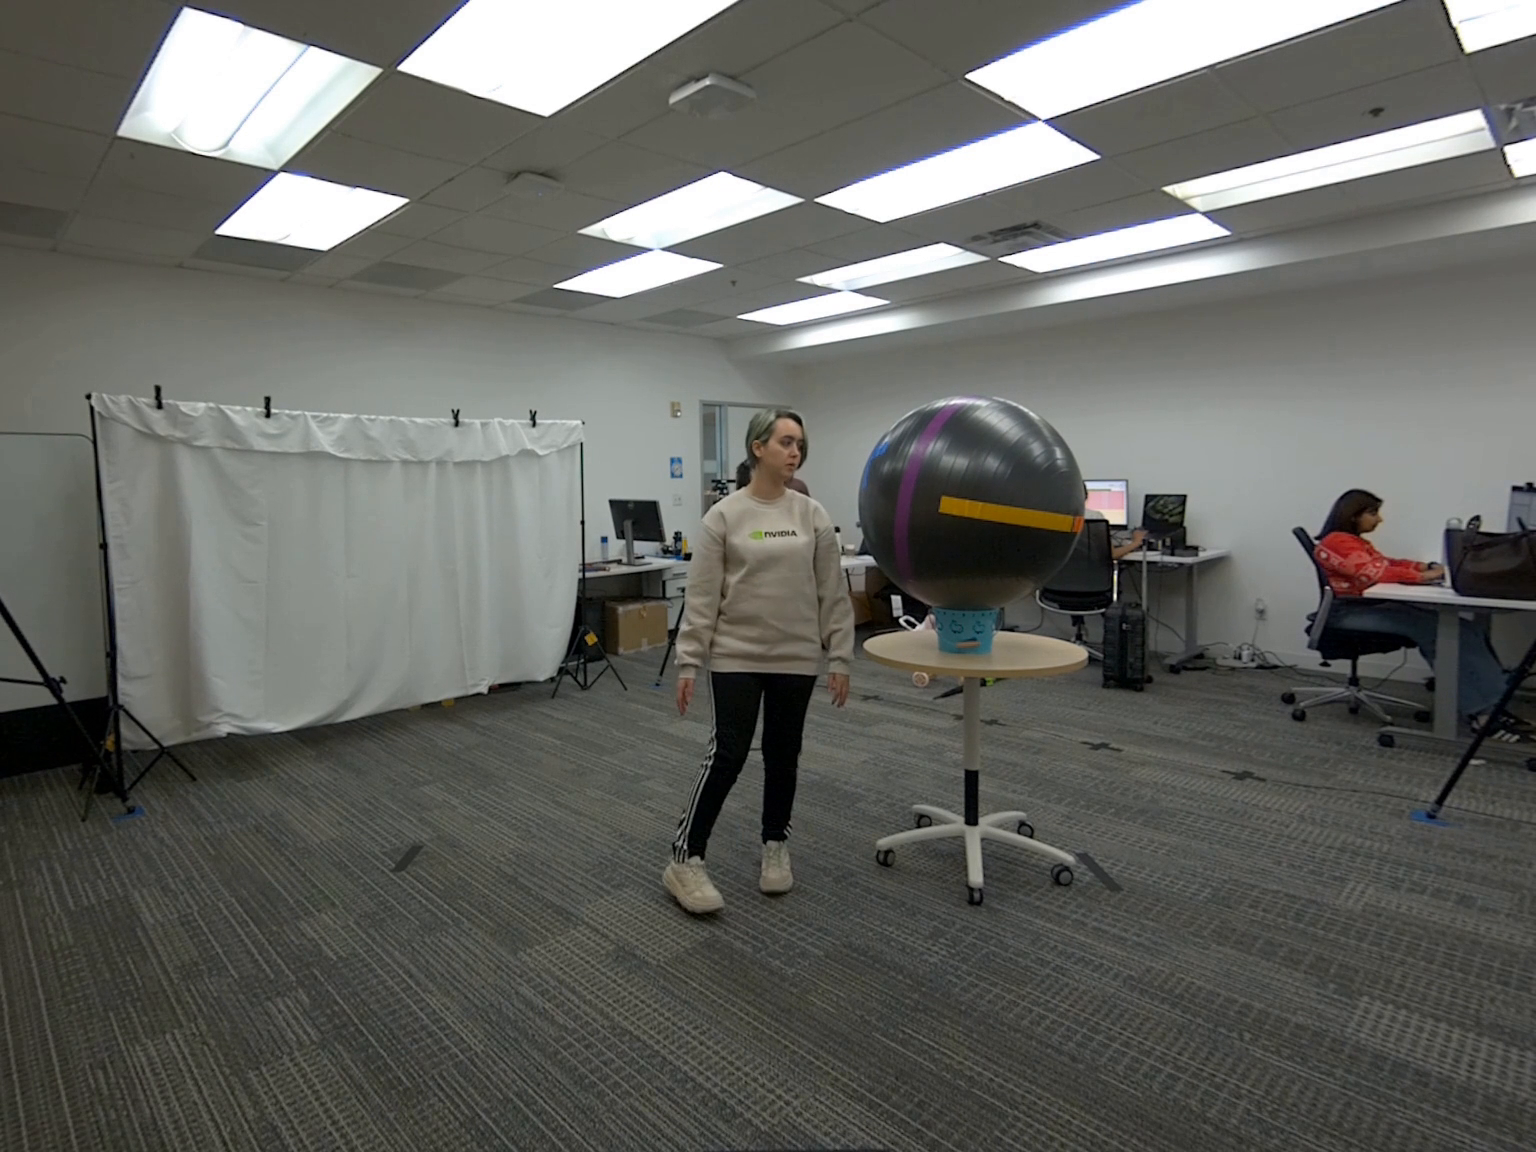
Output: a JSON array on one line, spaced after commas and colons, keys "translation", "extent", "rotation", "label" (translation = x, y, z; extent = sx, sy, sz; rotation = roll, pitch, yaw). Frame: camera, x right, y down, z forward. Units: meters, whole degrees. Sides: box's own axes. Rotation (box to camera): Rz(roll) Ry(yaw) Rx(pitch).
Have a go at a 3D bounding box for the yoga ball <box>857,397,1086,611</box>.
[{"translation": [0.709, -0.249, 2.993], "extent": [0.757, 0.755, 0.762], "rotation": [-1, 5, -2], "label": "yoga ball"}]
